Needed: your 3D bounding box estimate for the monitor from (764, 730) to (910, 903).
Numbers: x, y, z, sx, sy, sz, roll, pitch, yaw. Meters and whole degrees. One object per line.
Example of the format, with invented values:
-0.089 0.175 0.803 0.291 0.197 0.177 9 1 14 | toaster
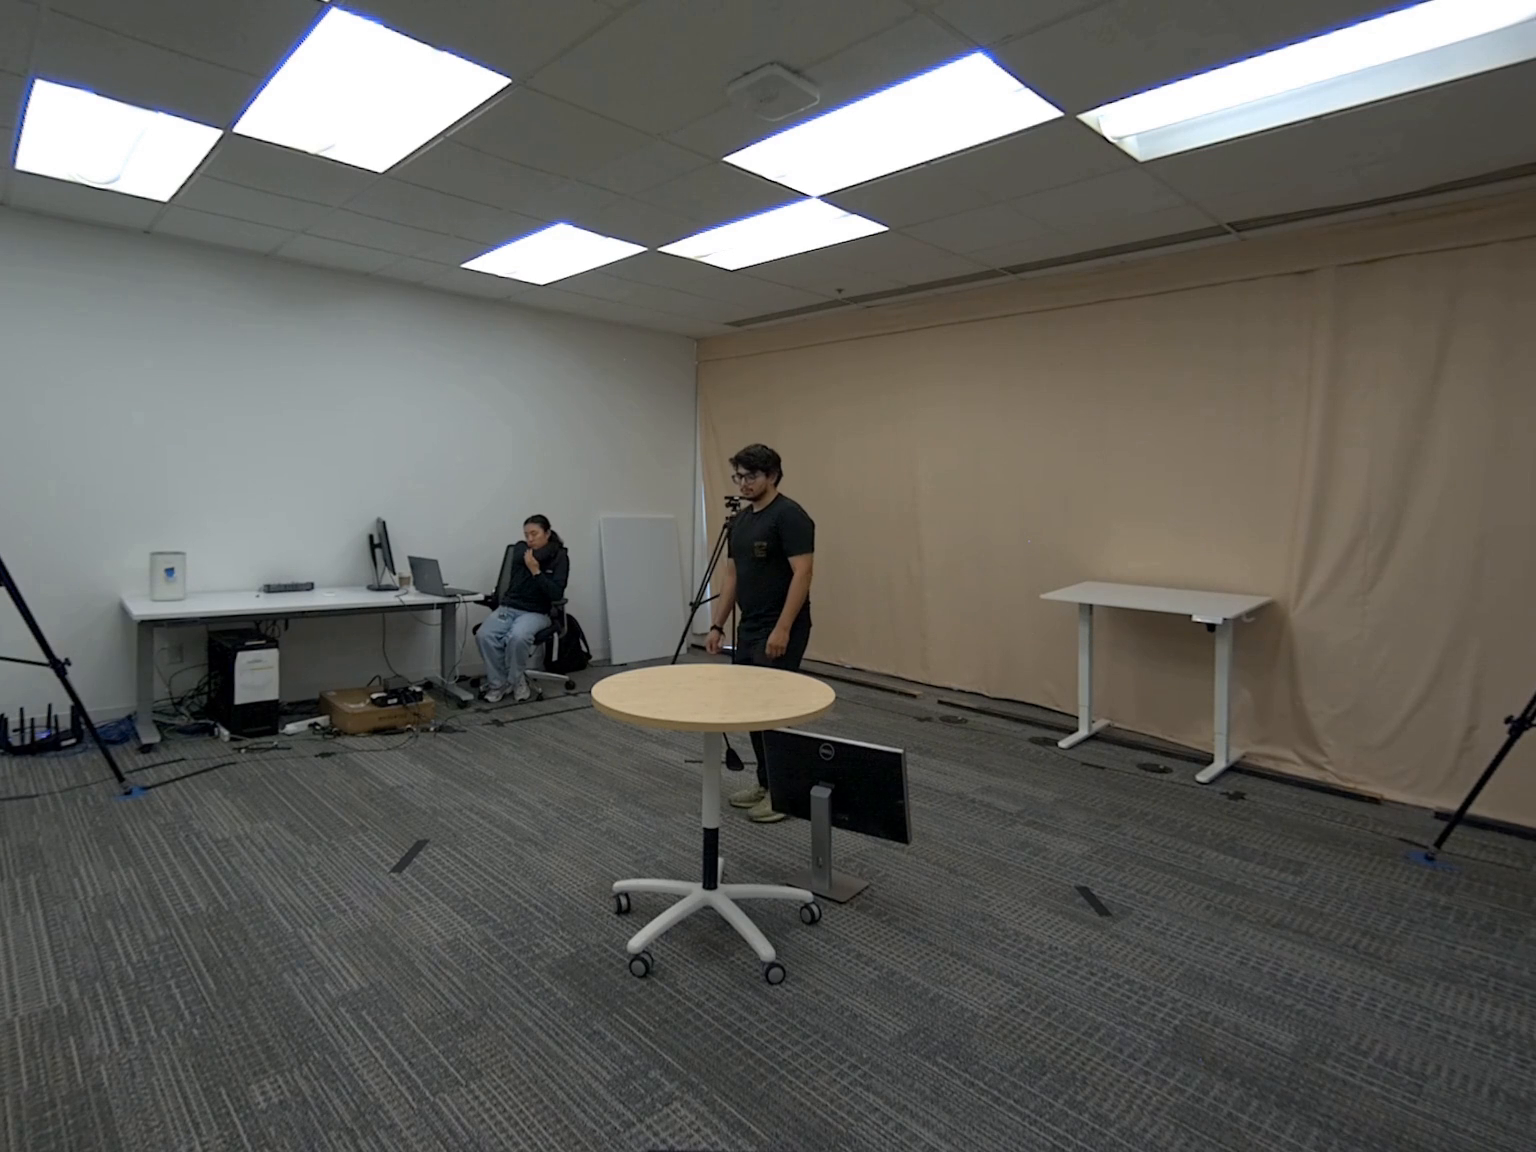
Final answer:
0.203 0.854 3.009 0.578 0.550 0.207 3 10 33 | monitor
